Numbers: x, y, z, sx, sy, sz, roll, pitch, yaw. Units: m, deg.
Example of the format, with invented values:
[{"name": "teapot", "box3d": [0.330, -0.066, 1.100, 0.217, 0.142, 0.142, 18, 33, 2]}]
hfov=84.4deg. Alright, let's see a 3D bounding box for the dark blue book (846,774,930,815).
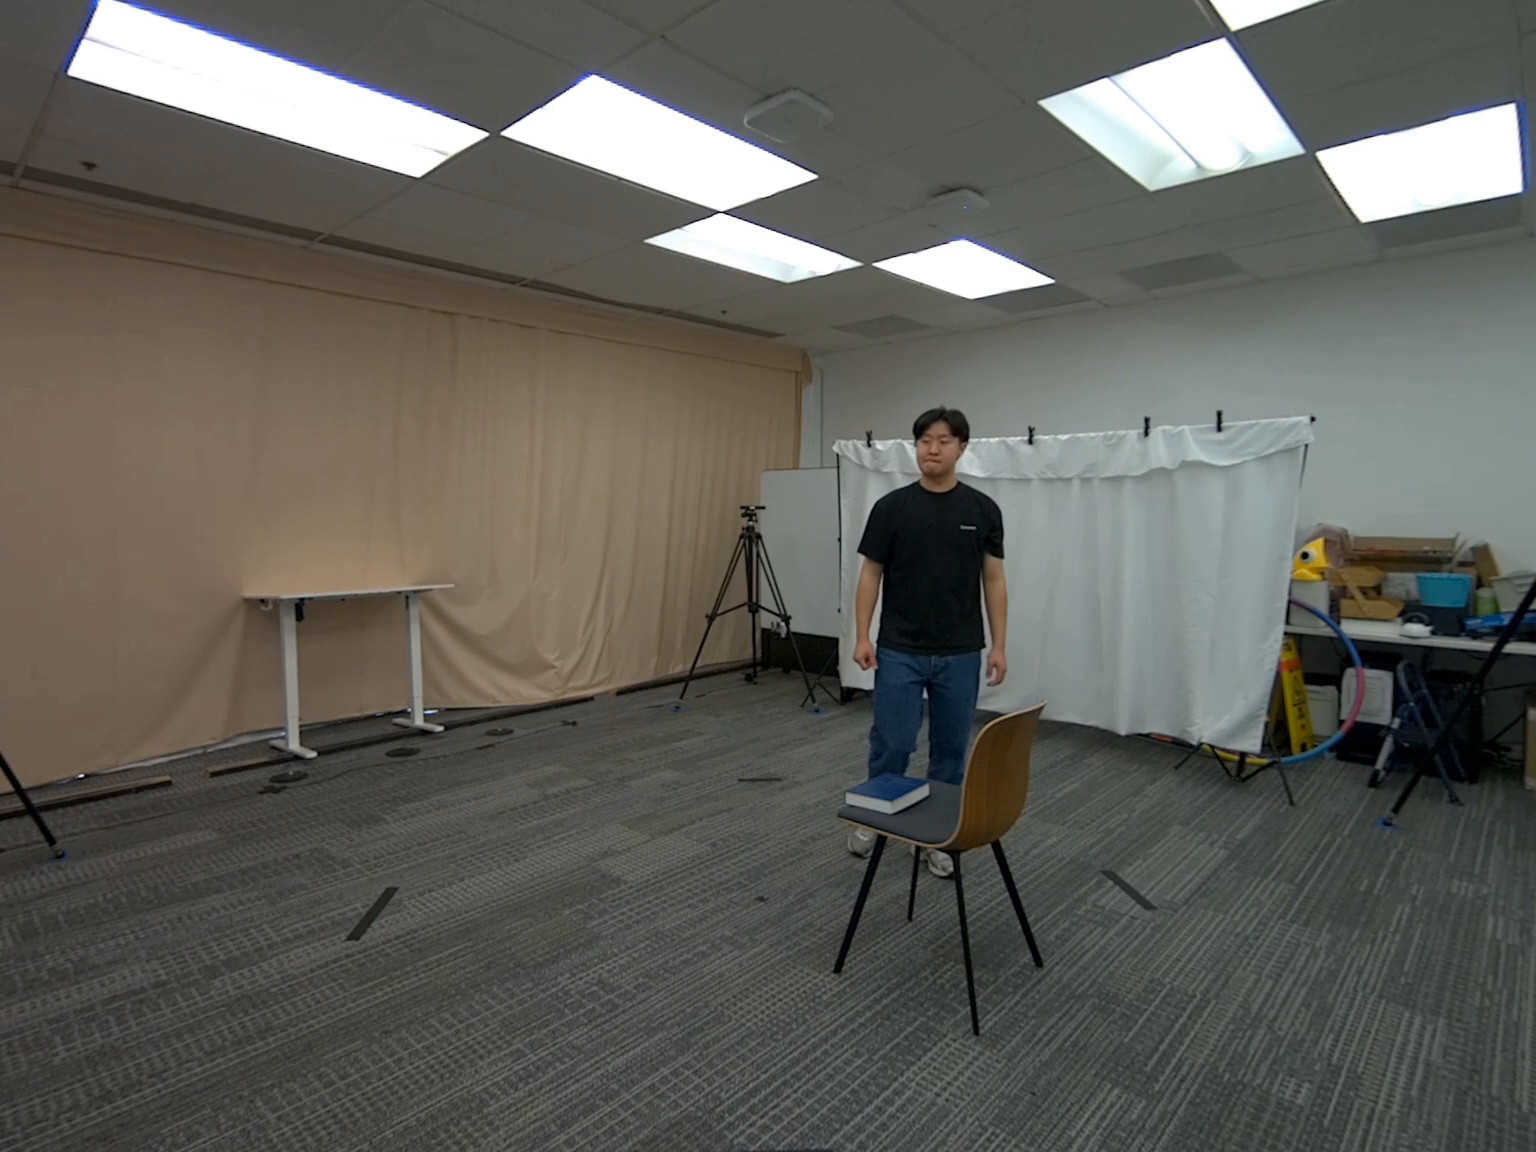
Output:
[{"name": "dark blue book", "box3d": [0.378, 0.668, 2.594, 0.169, 0.045, 0.237, 1, 4, 40]}]
